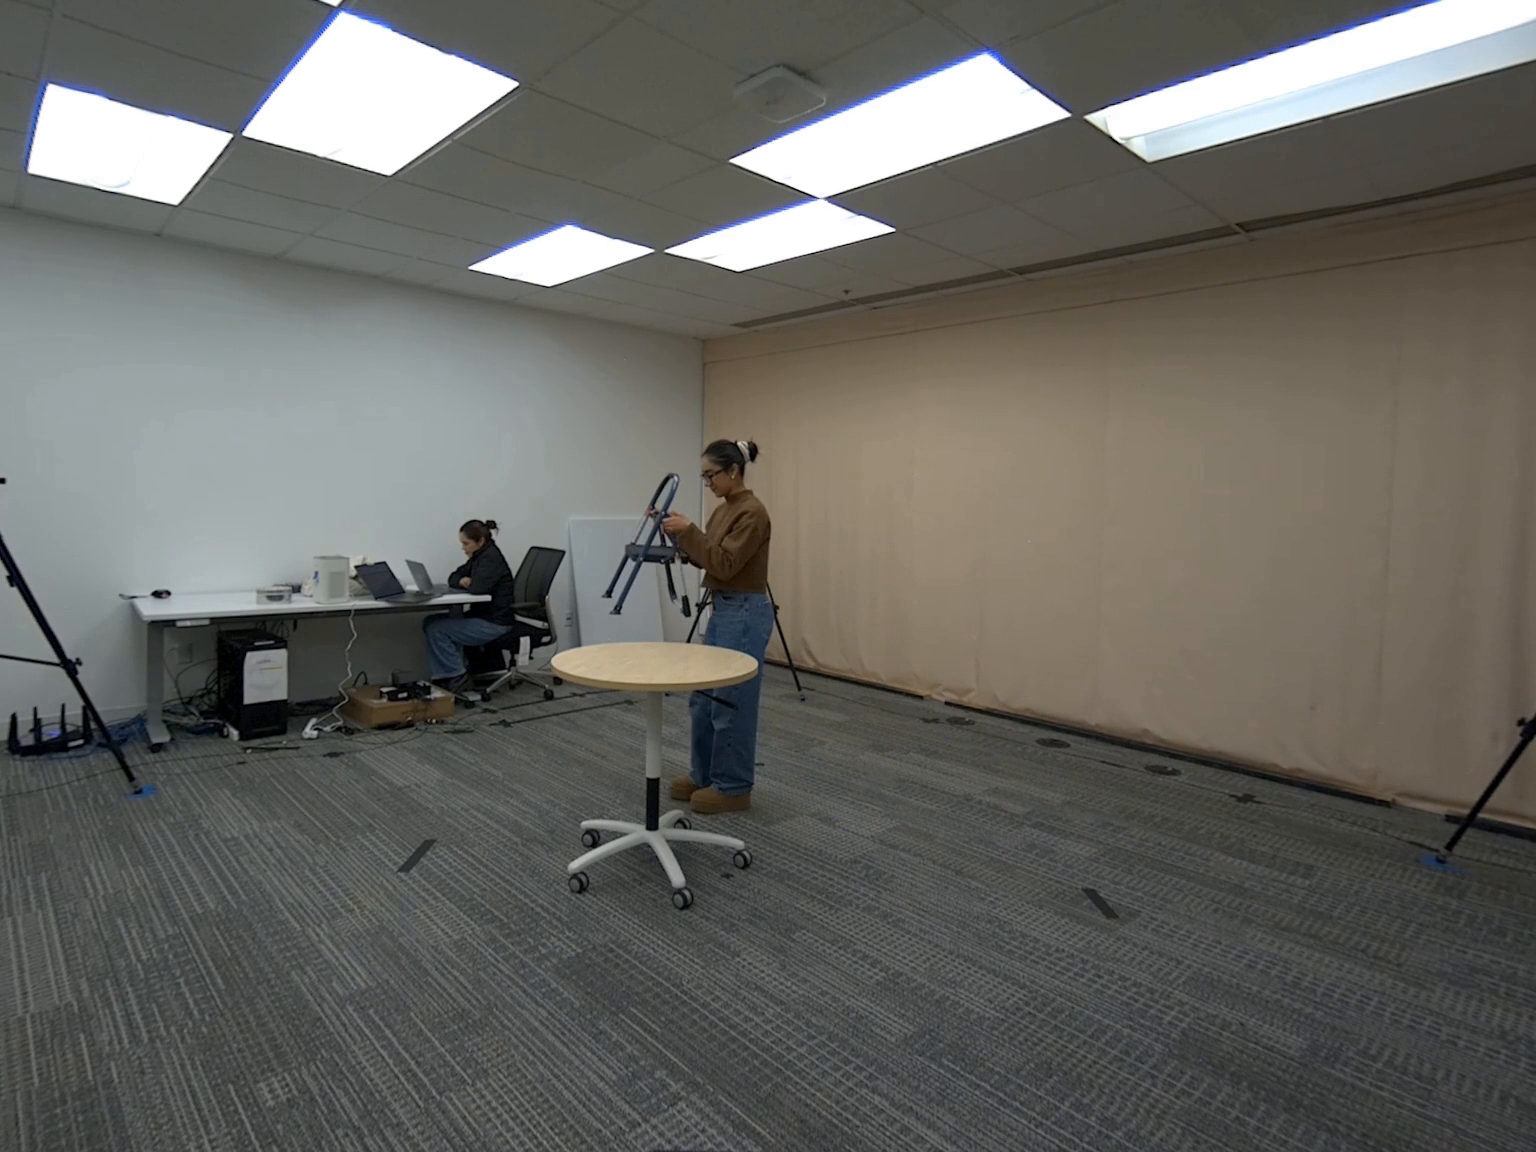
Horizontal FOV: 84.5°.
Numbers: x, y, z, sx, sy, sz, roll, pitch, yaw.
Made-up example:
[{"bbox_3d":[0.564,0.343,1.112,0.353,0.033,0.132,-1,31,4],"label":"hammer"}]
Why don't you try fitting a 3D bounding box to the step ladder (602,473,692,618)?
[{"bbox_3d":[-0.520,-0.150,3.744,0.345,0.603,0.438,3,7,-16],"label":"step ladder"}]
